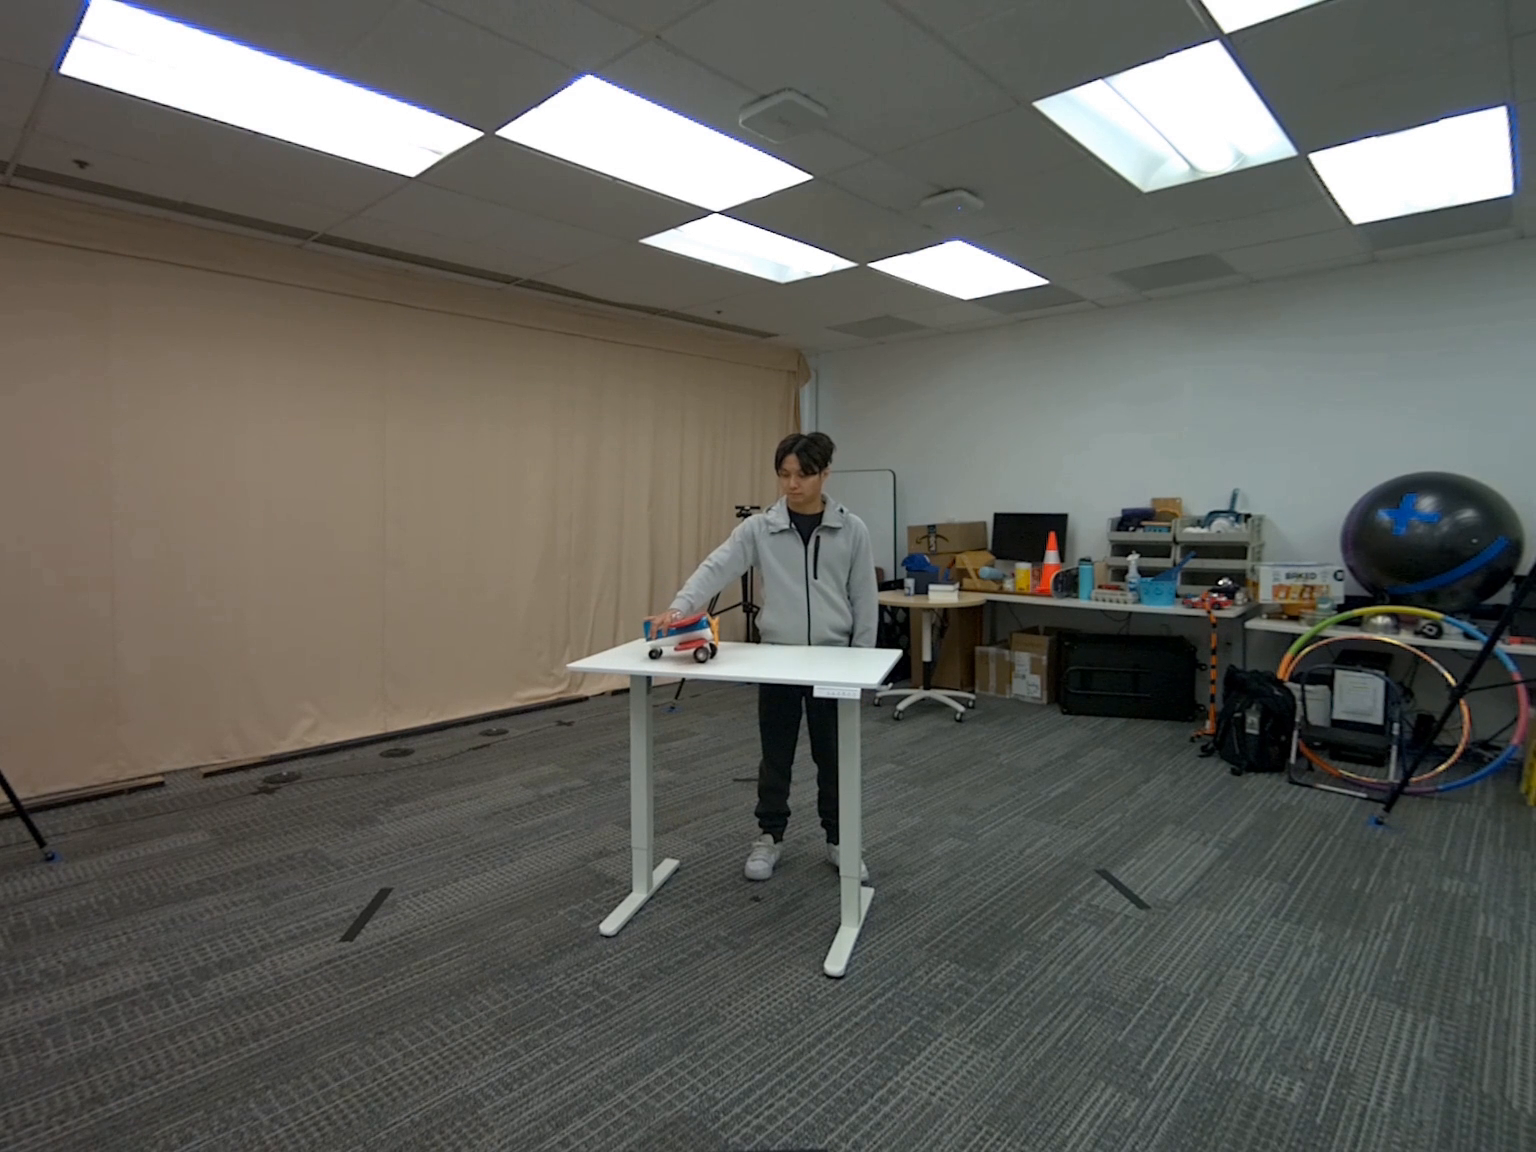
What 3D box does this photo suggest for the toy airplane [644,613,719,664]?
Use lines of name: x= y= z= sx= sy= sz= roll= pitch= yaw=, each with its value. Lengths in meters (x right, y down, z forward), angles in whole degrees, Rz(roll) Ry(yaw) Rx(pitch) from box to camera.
toy airplane: x=-0.289 y=0.207 z=2.780 sx=0.256 sy=0.156 sz=0.255 roll=-2 pitch=4 yaw=-13
